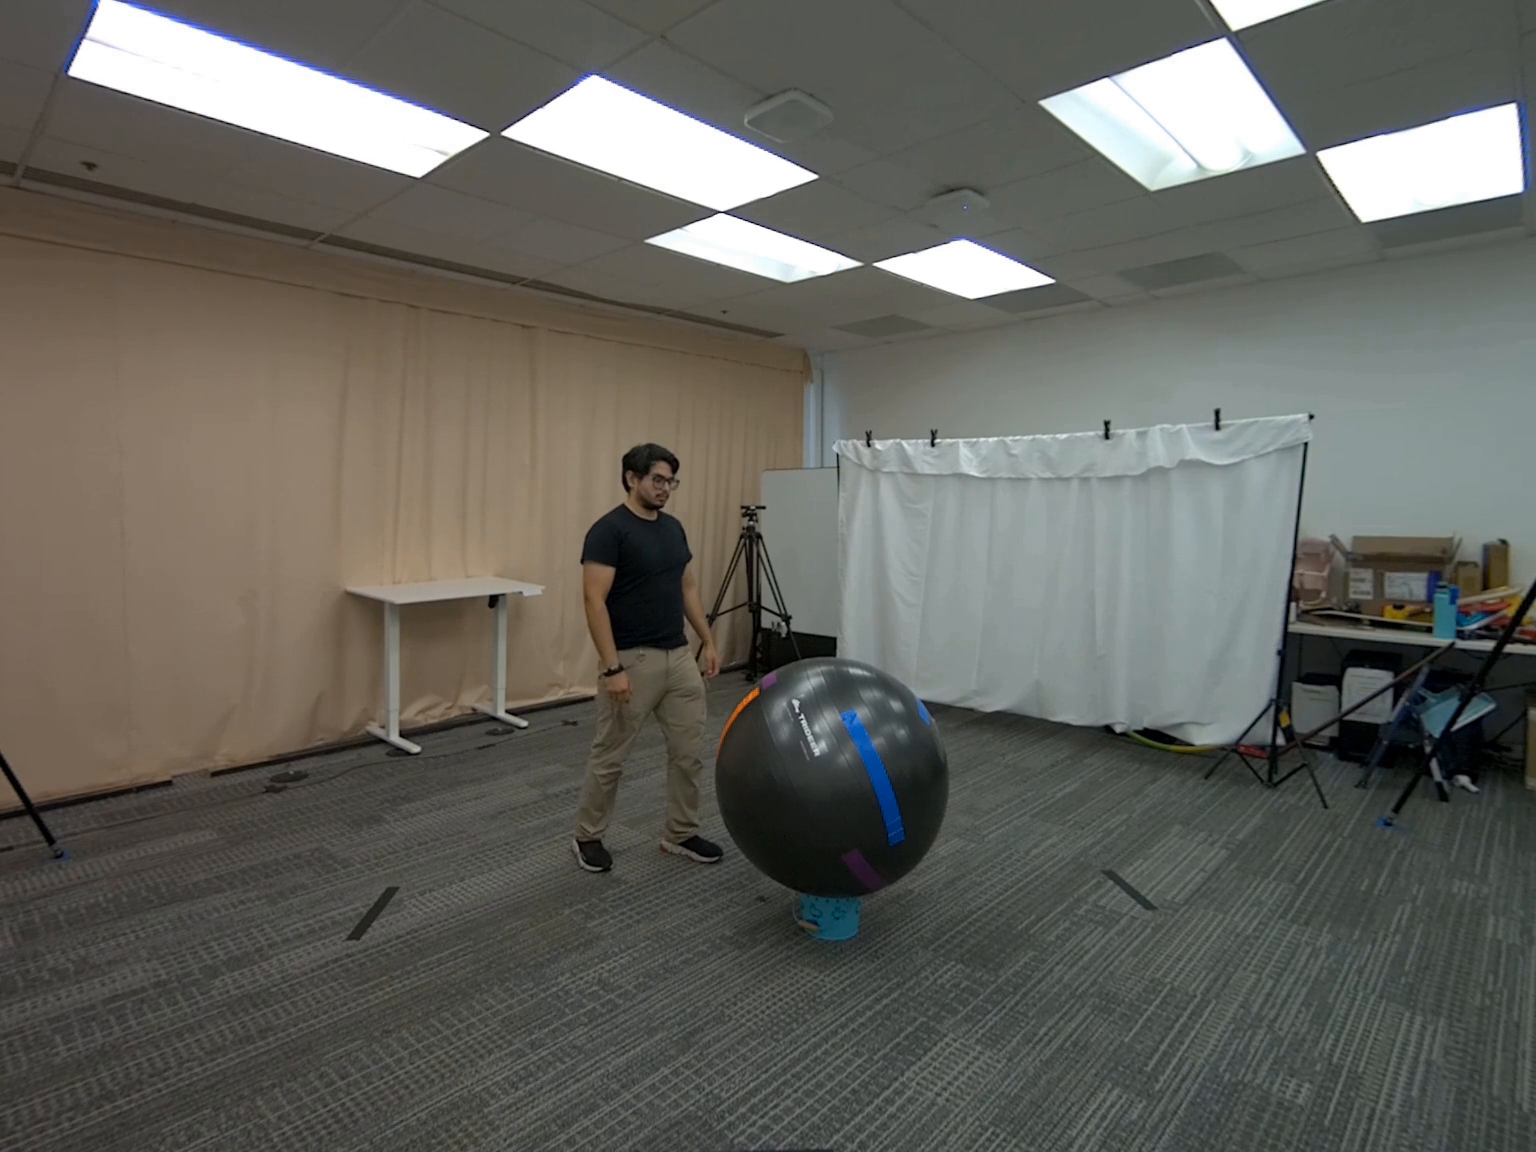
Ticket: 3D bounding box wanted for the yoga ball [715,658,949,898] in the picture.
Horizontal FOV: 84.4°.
[{"bbox_3d":[0.210,0.656,2.768,0.757,0.756,0.761,0,4,-2],"label":"yoga ball"}]
